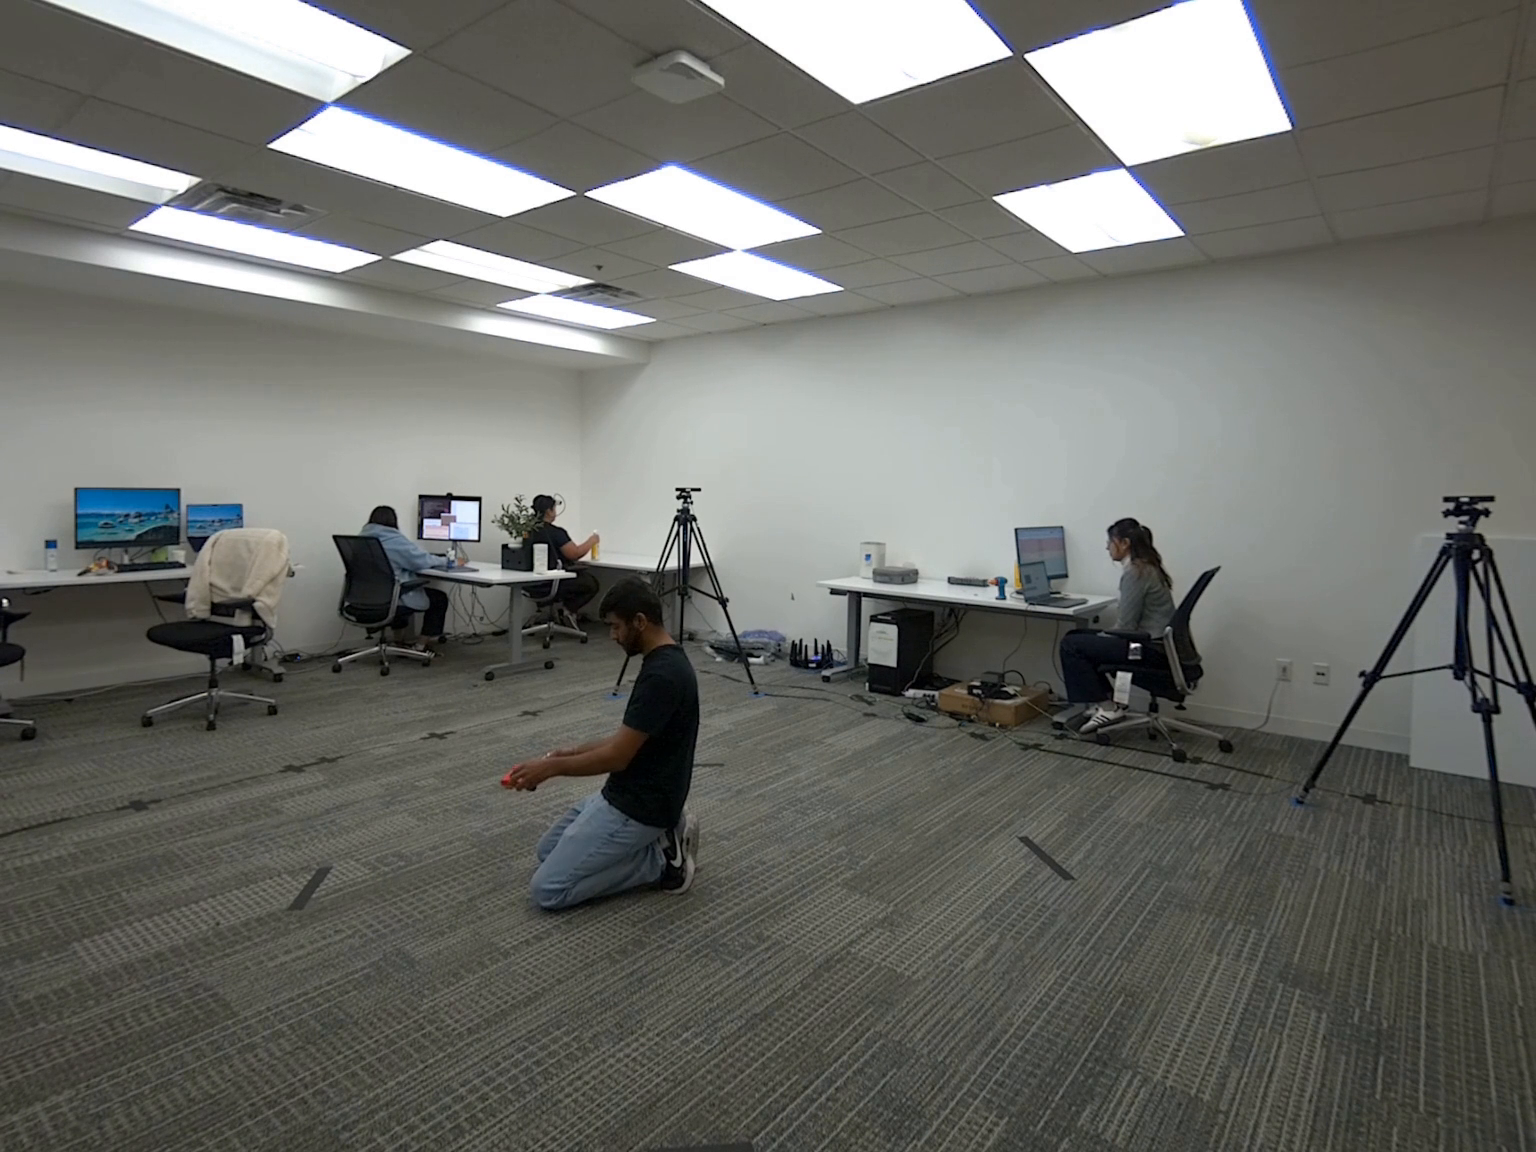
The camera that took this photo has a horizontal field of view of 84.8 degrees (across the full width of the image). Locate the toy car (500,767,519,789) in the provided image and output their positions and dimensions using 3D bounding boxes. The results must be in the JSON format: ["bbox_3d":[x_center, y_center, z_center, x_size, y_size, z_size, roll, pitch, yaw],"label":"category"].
[{"bbox_3d":[-0.865,0.711,3.035,0.132,0.084,0.249,-1,-7,14],"label":"toy car"}]
